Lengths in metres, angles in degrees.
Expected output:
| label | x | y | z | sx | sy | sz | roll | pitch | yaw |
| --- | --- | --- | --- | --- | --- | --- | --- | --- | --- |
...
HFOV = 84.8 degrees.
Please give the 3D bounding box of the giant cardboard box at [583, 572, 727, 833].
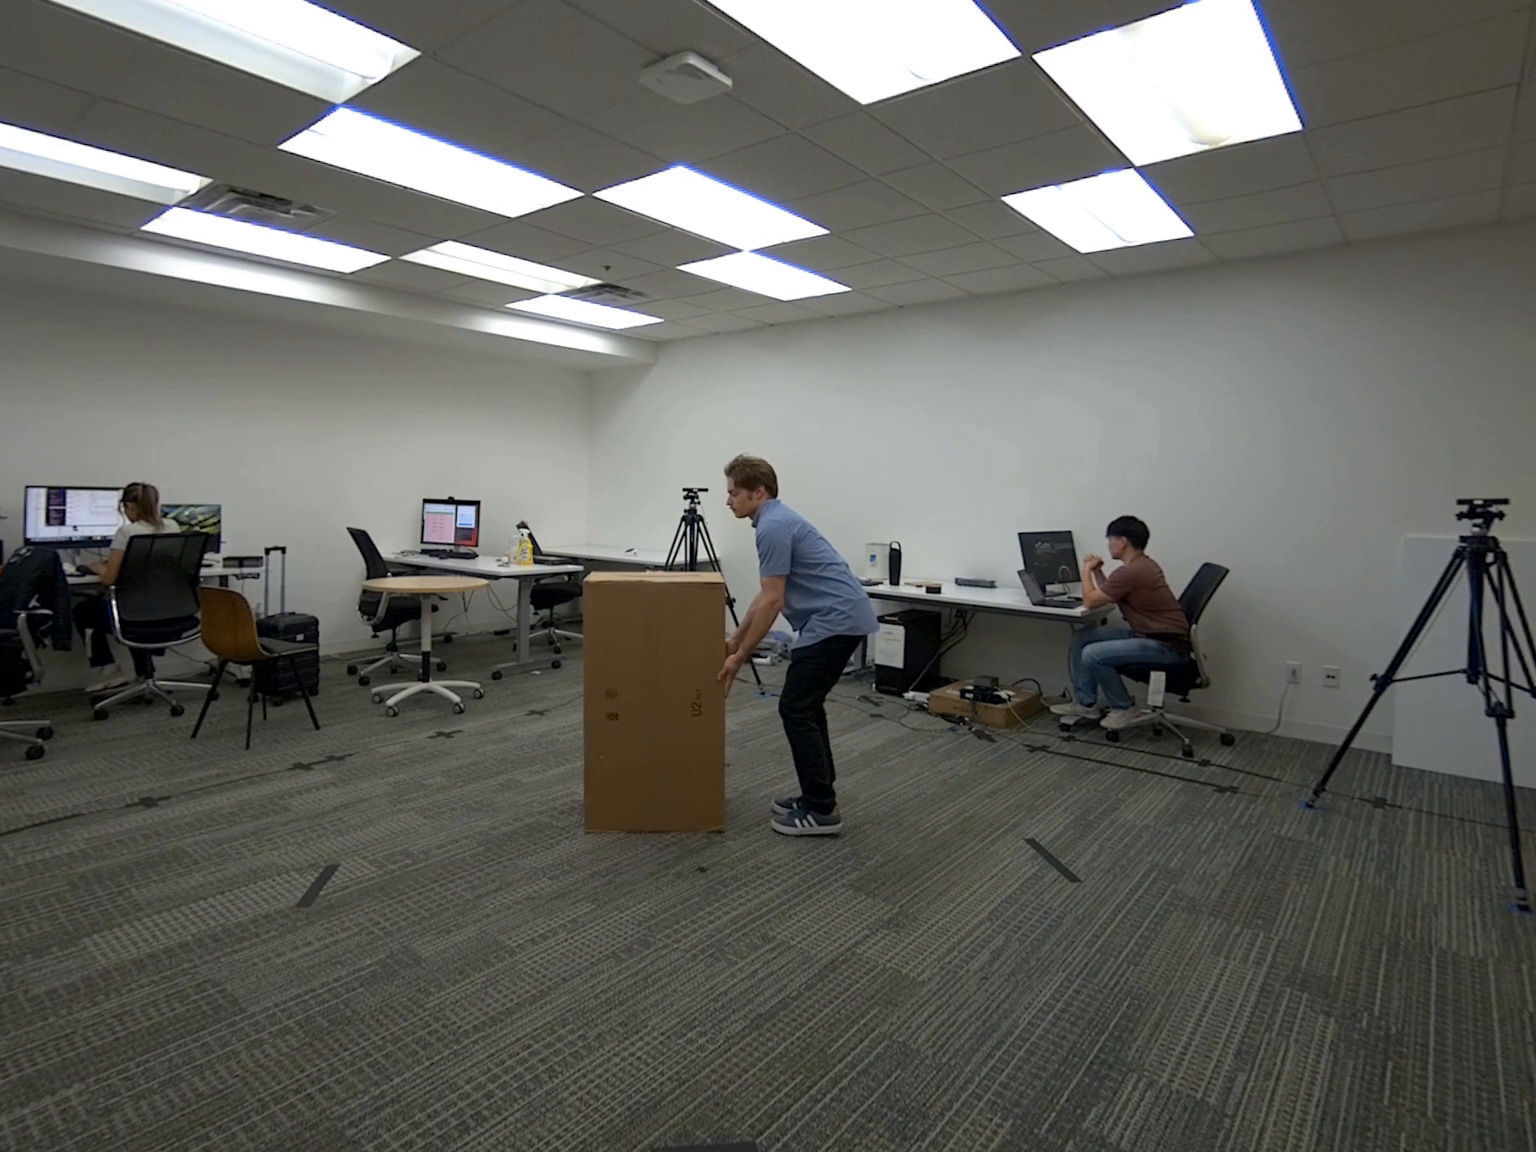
| label | x | y | z | sx | sy | sz | roll | pitch | yaw |
| --- | --- | --- | --- | --- | --- | --- | --- | --- | --- |
| giant cardboard box | -0.492 | 0.504 | 3.630 | 0.576 | 1.023 | 0.429 | 0 | 3 | -3 |
